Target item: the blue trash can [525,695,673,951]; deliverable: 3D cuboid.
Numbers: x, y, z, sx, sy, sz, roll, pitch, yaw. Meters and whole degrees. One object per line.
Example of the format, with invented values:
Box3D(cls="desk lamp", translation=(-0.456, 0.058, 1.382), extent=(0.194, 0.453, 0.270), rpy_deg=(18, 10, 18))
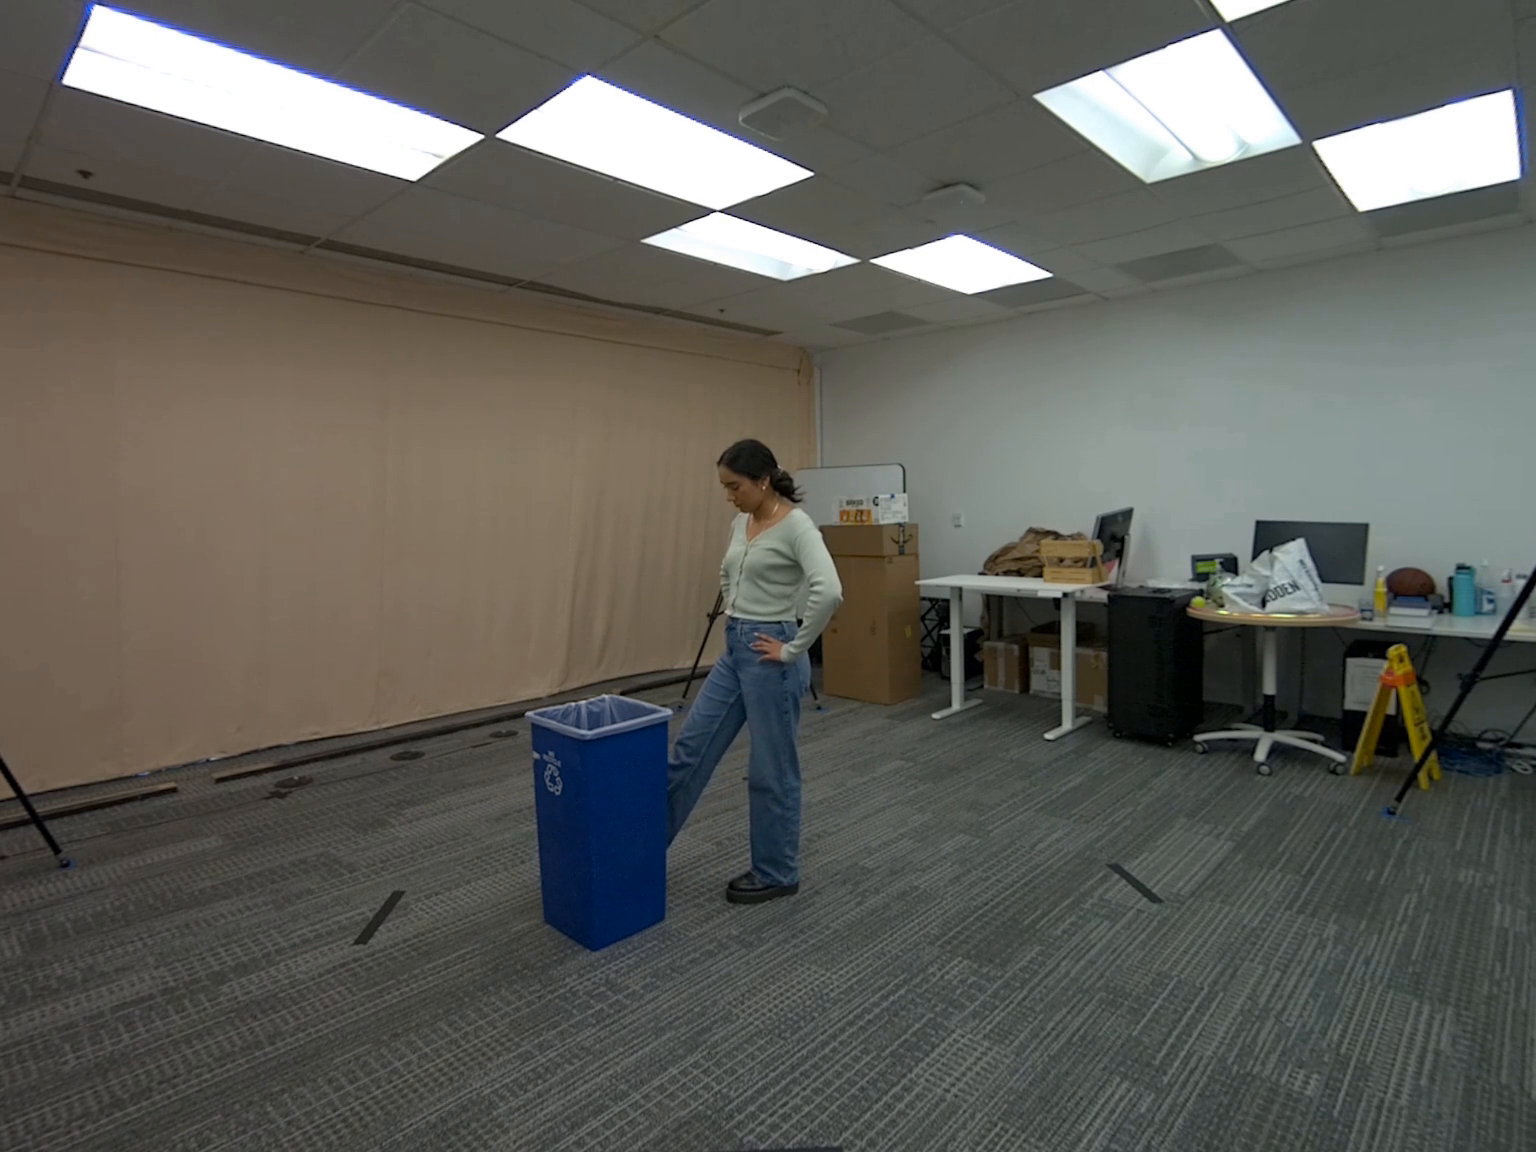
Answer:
Box3D(cls="blue trash can", translation=(-0.562, 0.809, 2.817), extent=(0.390, 0.712, 0.363), rpy_deg=(3, 5, 44))
